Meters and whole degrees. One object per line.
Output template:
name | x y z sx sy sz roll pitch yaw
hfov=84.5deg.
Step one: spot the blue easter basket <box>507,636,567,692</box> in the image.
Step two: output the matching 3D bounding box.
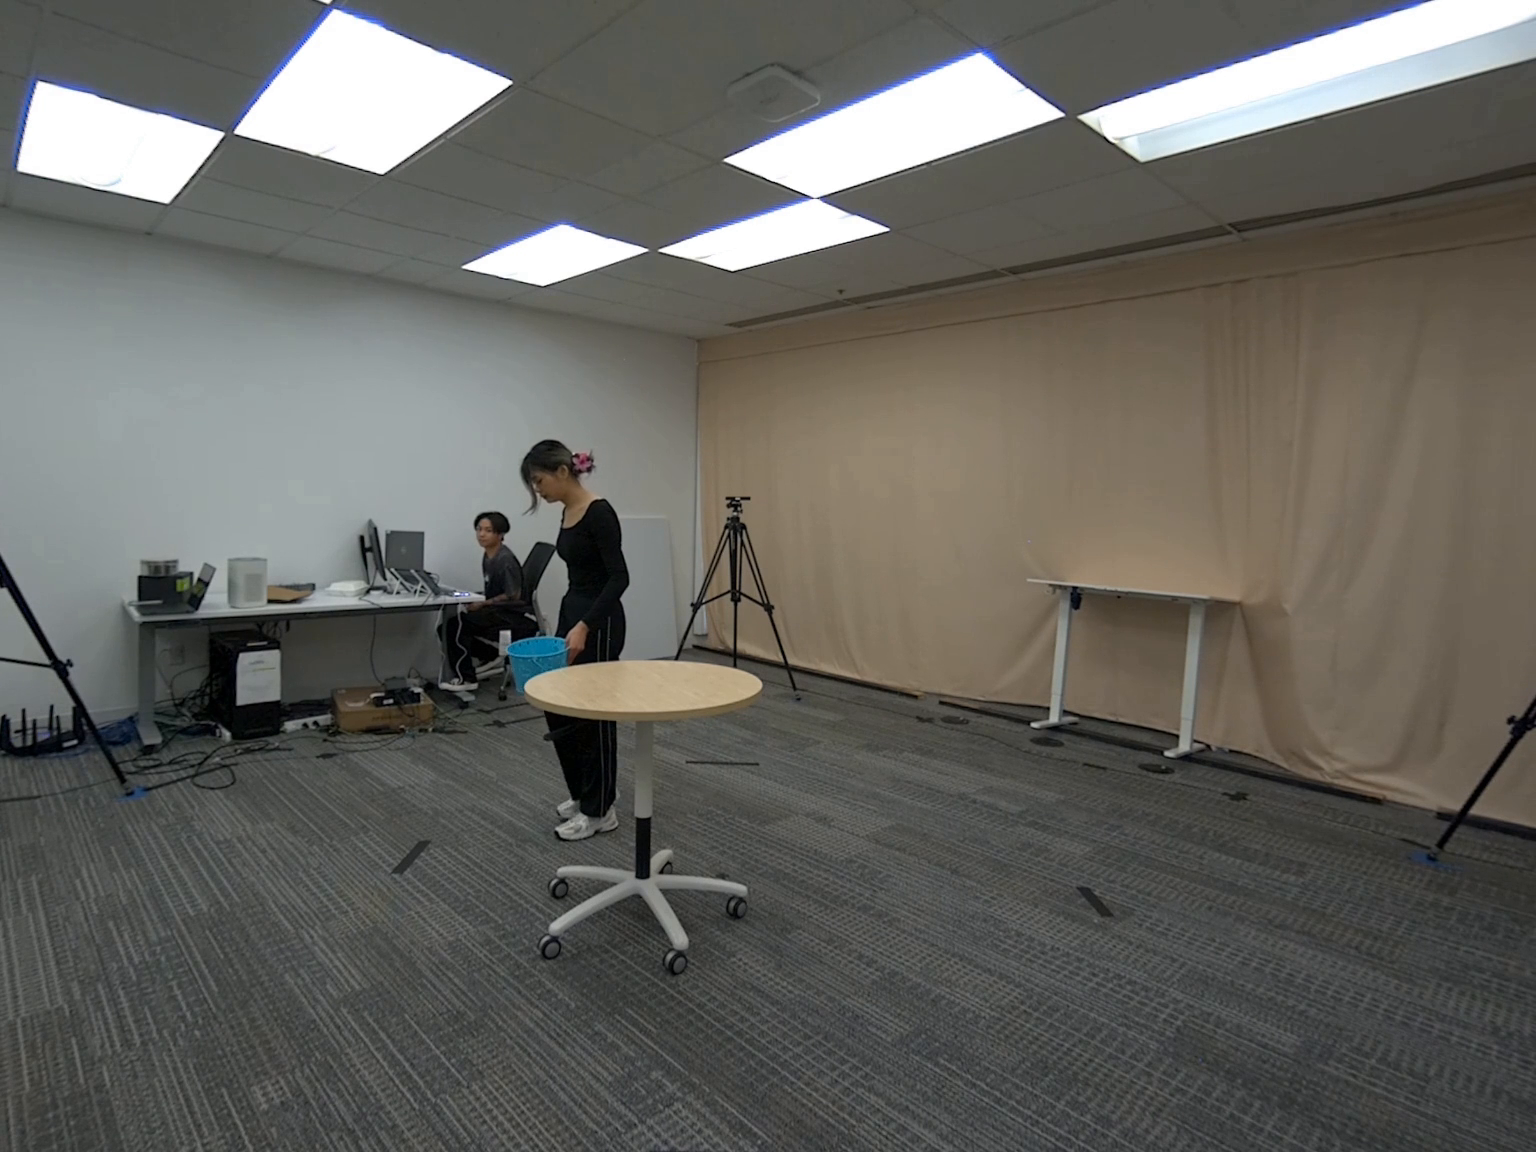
blue easter basket | -0.864 0.341 3.129 0.243 0.154 0.246 -1 13 -1
